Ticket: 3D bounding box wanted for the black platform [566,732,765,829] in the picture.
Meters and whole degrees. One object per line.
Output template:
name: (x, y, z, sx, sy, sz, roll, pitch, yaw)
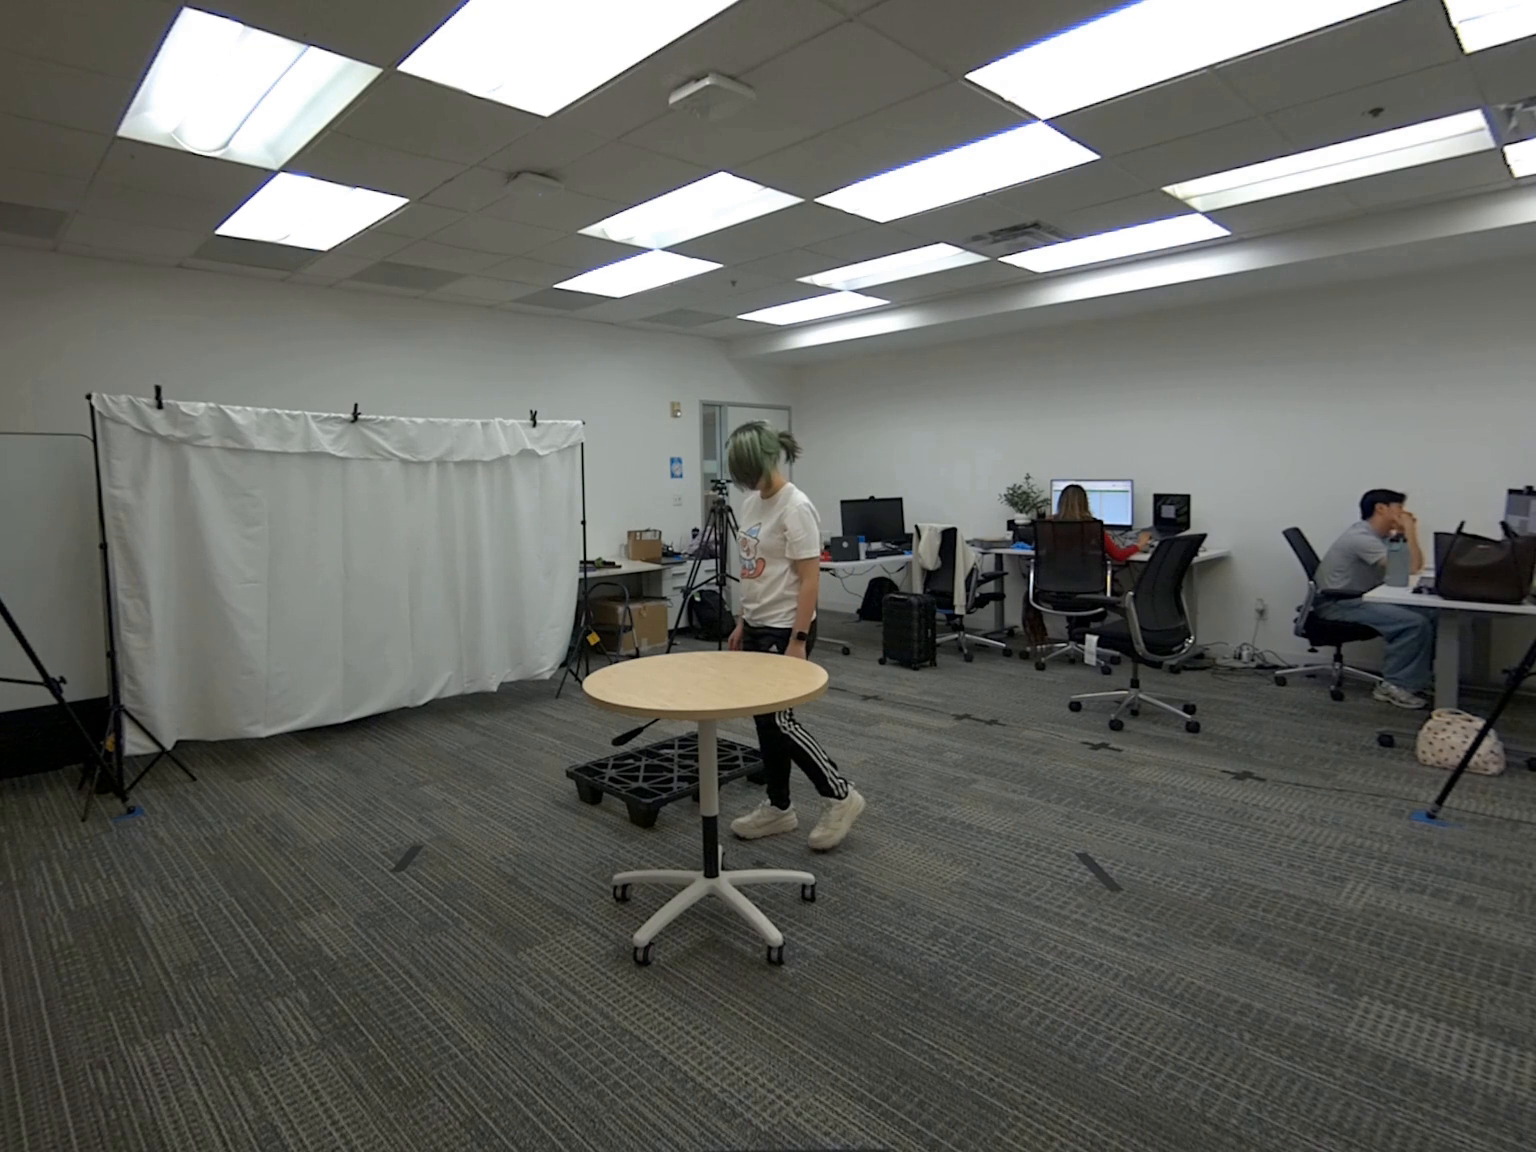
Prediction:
black platform: (-0.416, 0.905, 3.856, 0.784, 0.143, 0.623, -7, 8, -45)
